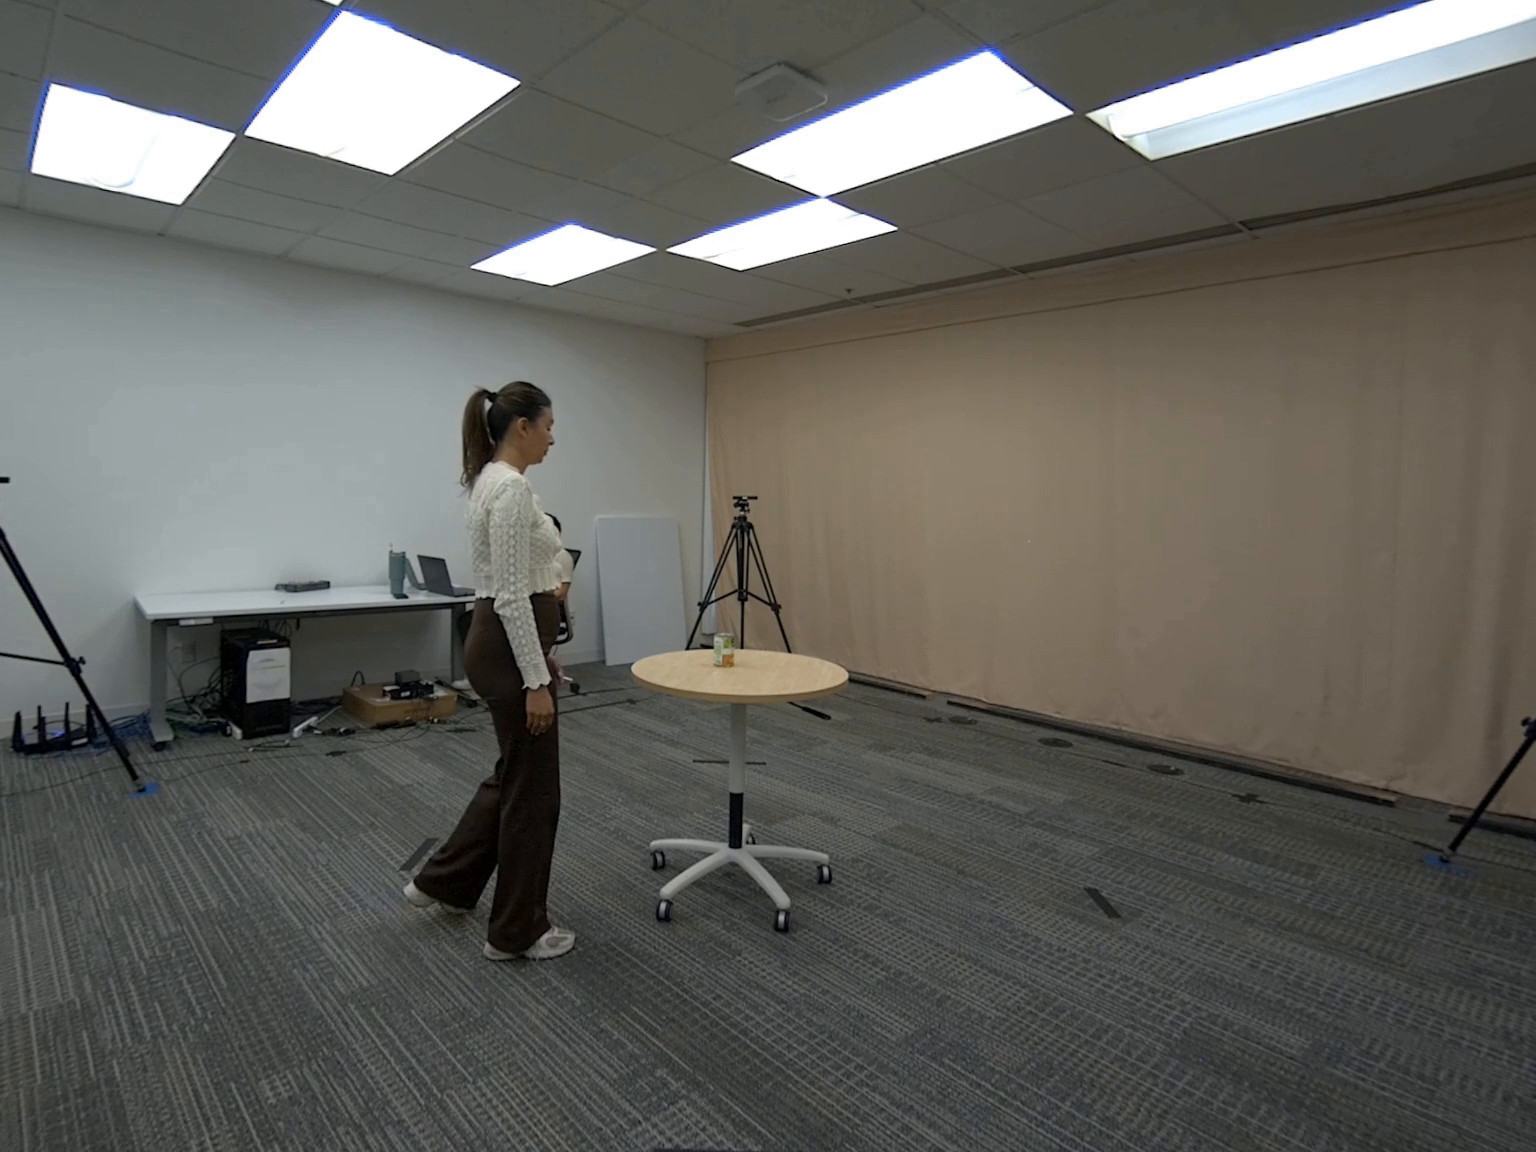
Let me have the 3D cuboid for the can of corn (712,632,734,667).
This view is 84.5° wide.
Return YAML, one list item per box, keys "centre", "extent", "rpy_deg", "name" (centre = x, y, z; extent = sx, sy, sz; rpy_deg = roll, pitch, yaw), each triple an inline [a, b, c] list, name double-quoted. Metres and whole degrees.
- centre: [-0.167, 0.270, 3.035]
  extent: [0.074, 0.111, 0.074]
  rpy_deg: [0, 2, -1]
  name: "can of corn"
